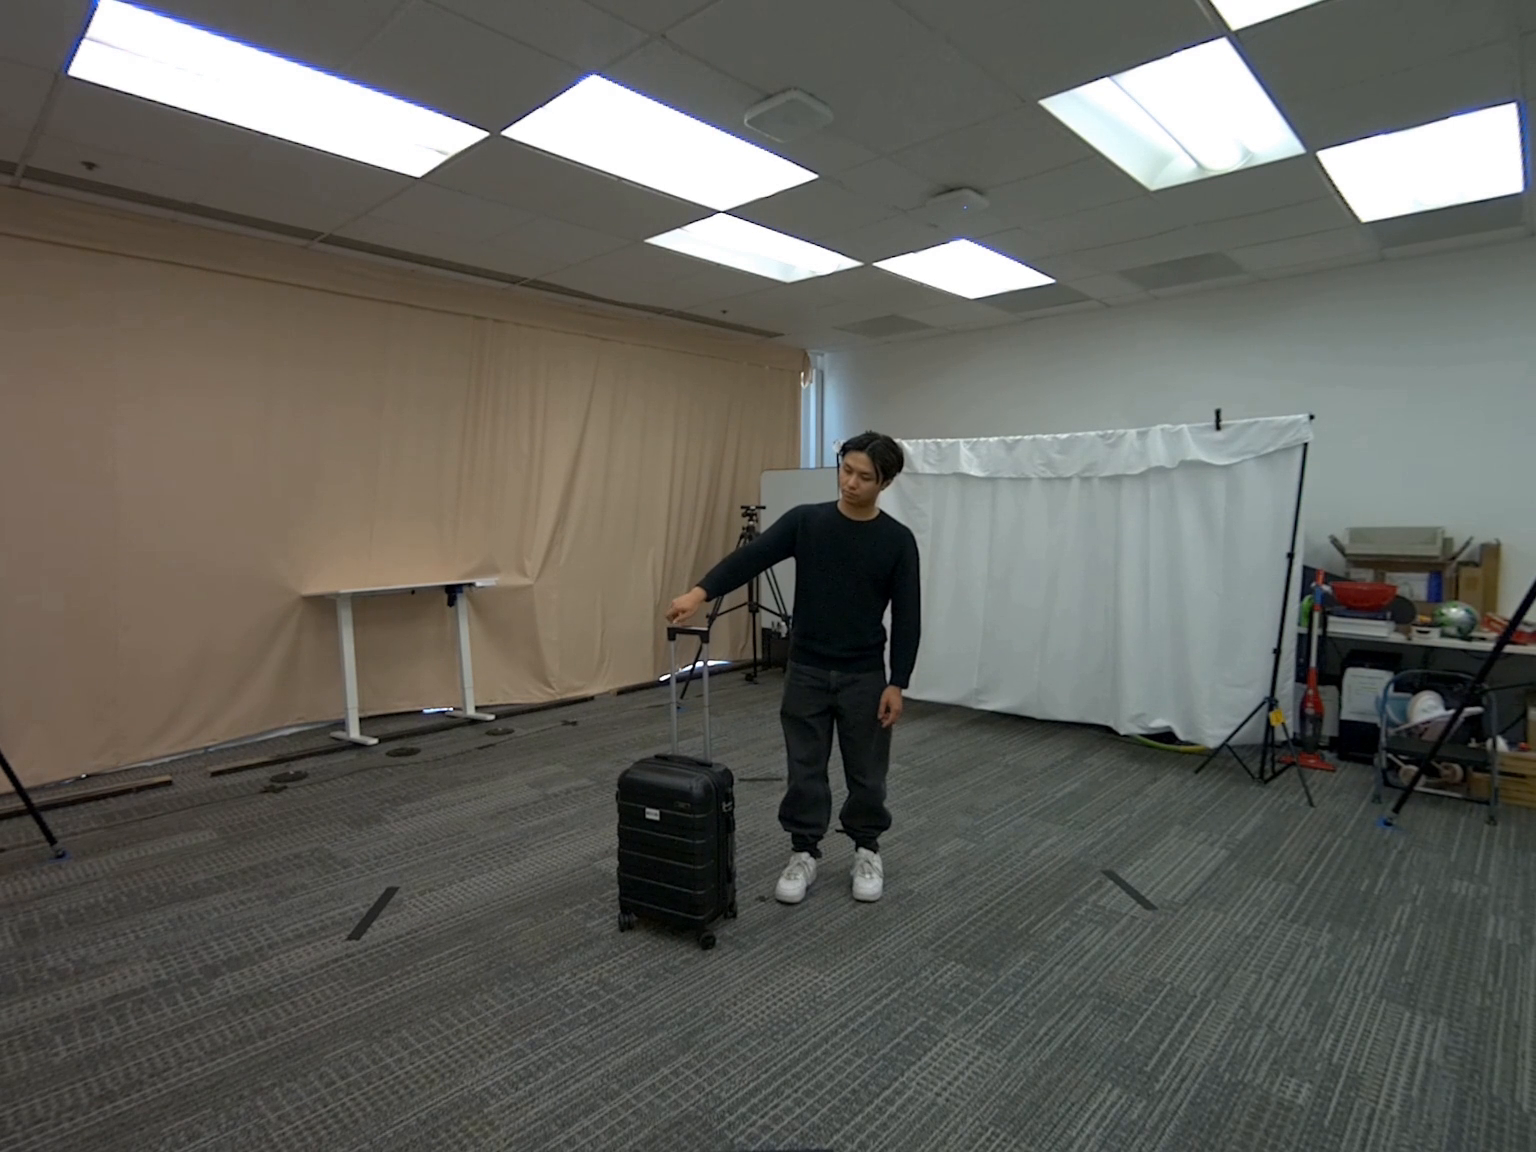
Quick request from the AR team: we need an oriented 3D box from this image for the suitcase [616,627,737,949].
[{"bbox_3d":[-0.305,0.687,2.776,0.394,0.975,0.251,1,6,26],"label":"suitcase"}]
